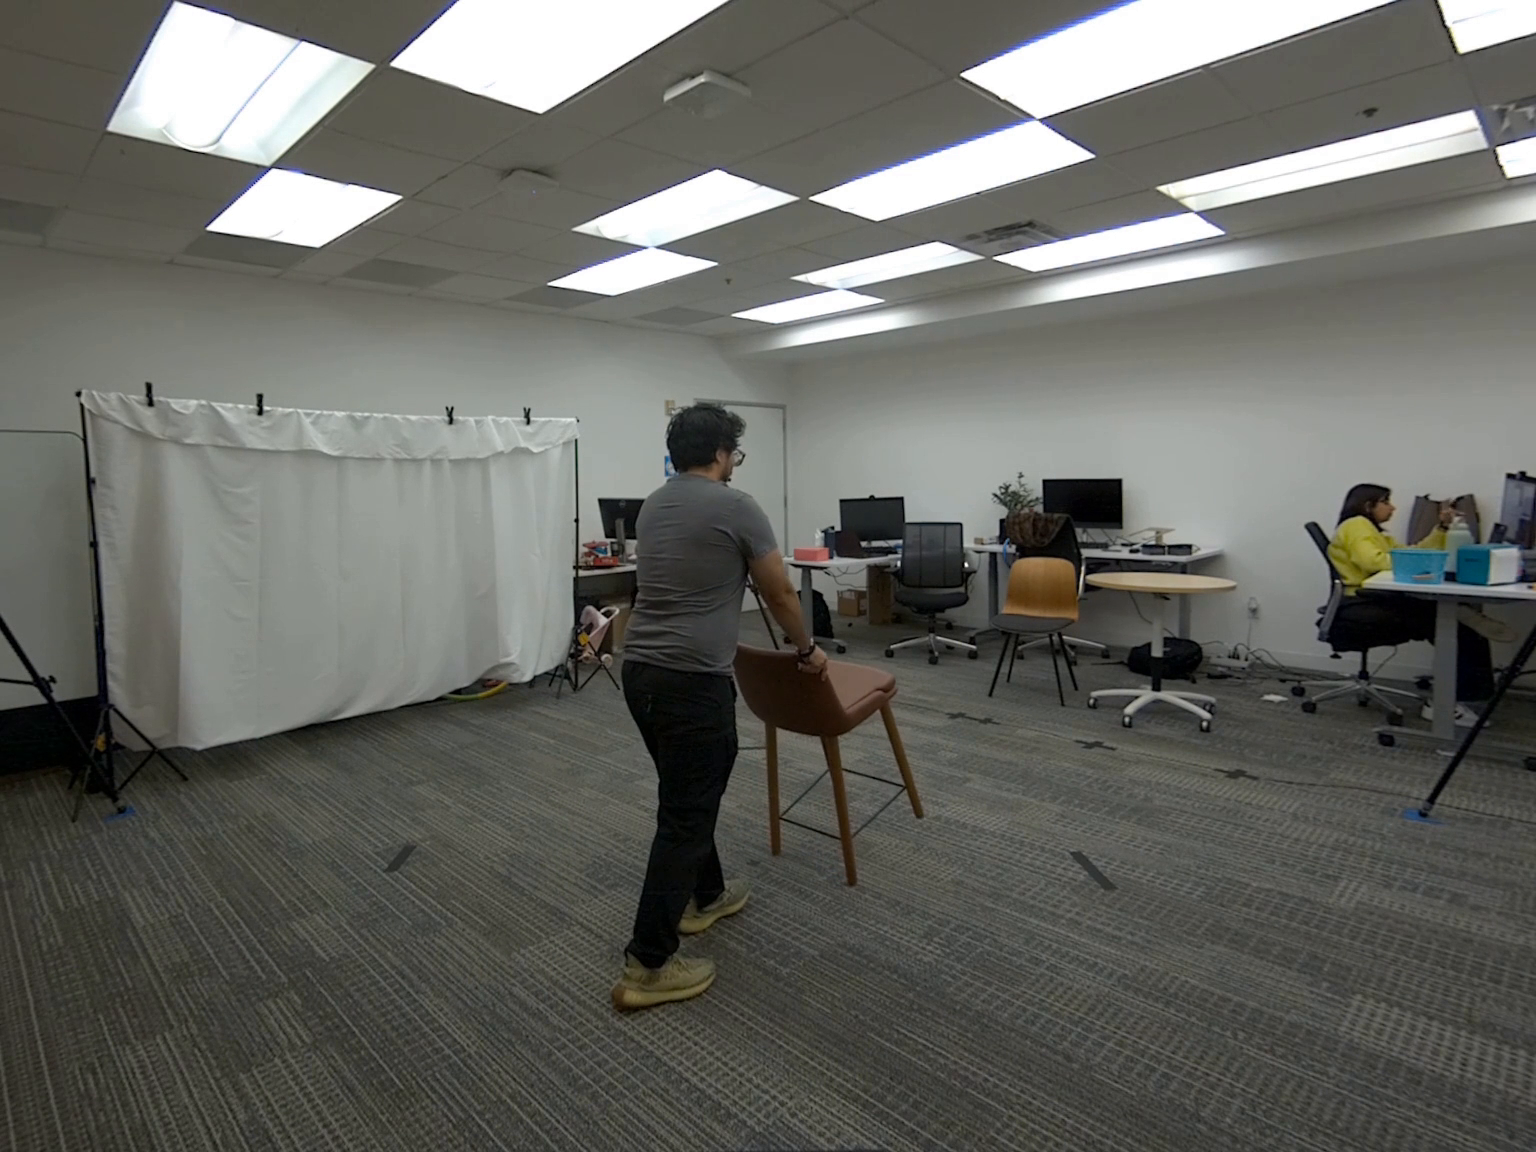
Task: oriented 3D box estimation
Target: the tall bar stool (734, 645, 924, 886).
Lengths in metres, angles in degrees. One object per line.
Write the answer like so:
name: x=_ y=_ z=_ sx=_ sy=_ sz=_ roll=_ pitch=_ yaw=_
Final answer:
tall bar stool: x=0.207 y=0.564 z=3.082 sx=0.471 sy=0.874 sz=0.461 roll=4 pitch=24 yaw=44
